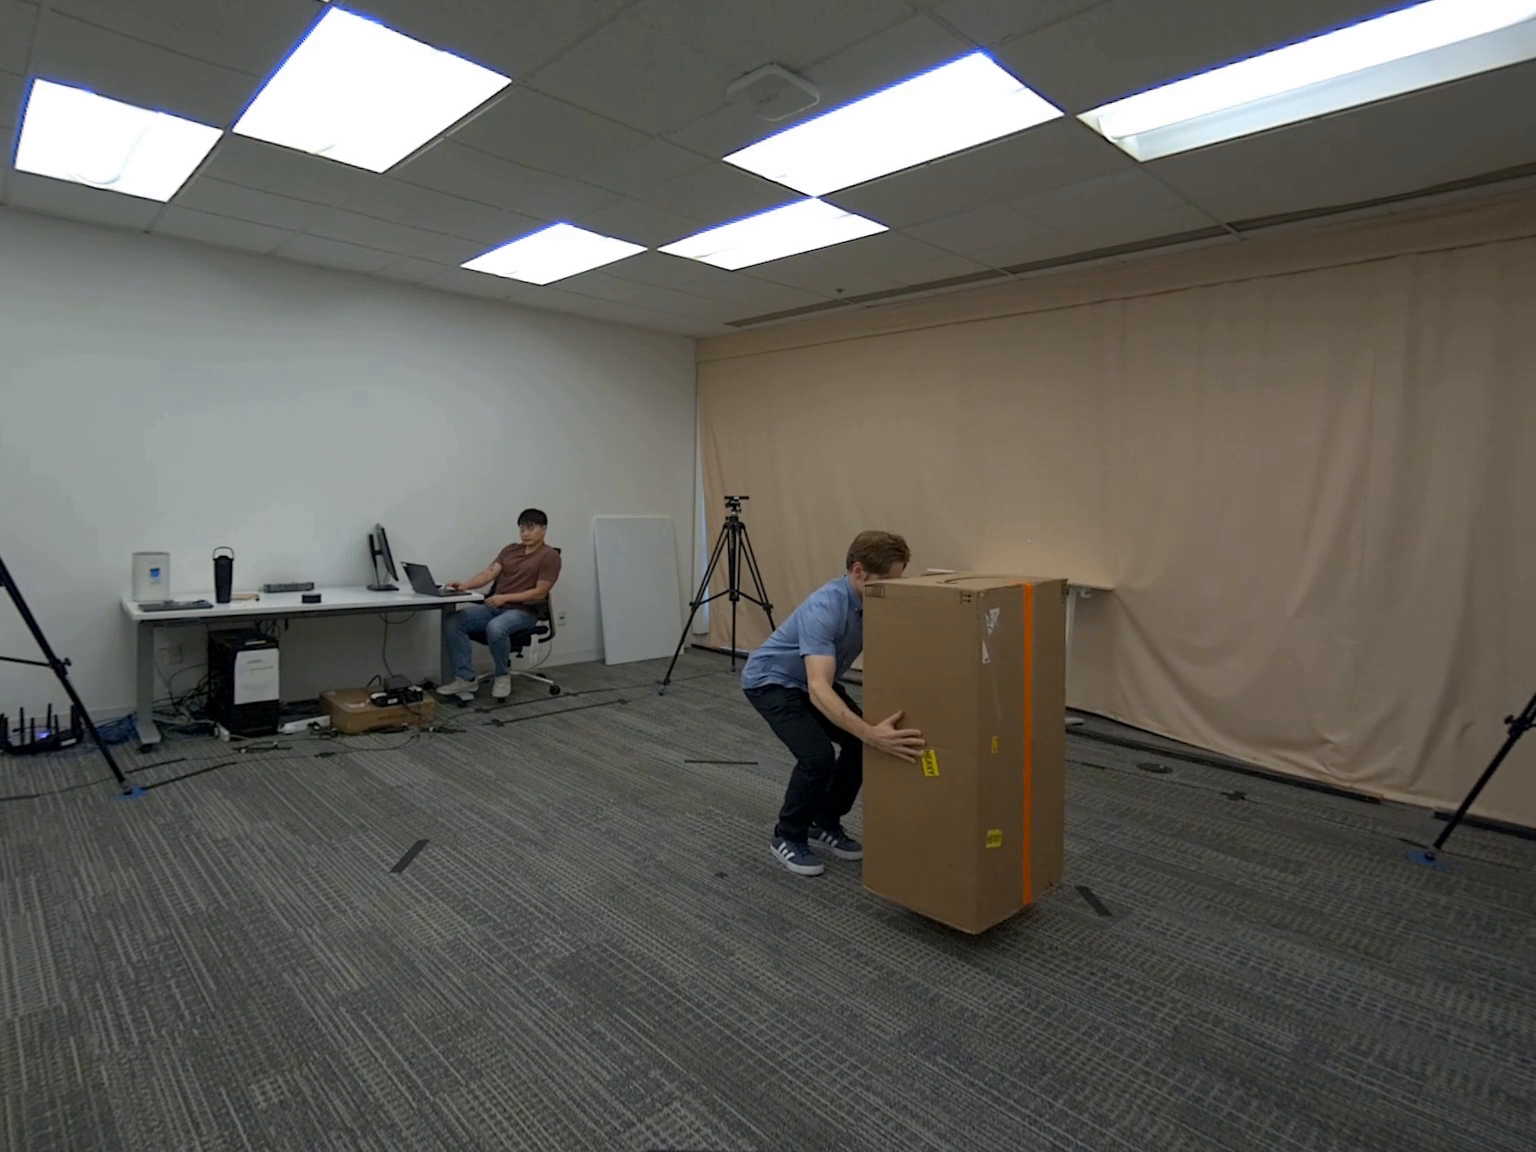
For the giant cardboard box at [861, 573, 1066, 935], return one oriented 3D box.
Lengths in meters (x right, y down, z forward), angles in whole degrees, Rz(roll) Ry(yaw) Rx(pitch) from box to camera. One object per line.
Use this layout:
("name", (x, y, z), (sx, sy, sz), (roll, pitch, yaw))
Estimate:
("giant cardboard box", (0.656, 0.521, 2.793), (0.564, 1.024, 0.437), (-3, 4, -44))
